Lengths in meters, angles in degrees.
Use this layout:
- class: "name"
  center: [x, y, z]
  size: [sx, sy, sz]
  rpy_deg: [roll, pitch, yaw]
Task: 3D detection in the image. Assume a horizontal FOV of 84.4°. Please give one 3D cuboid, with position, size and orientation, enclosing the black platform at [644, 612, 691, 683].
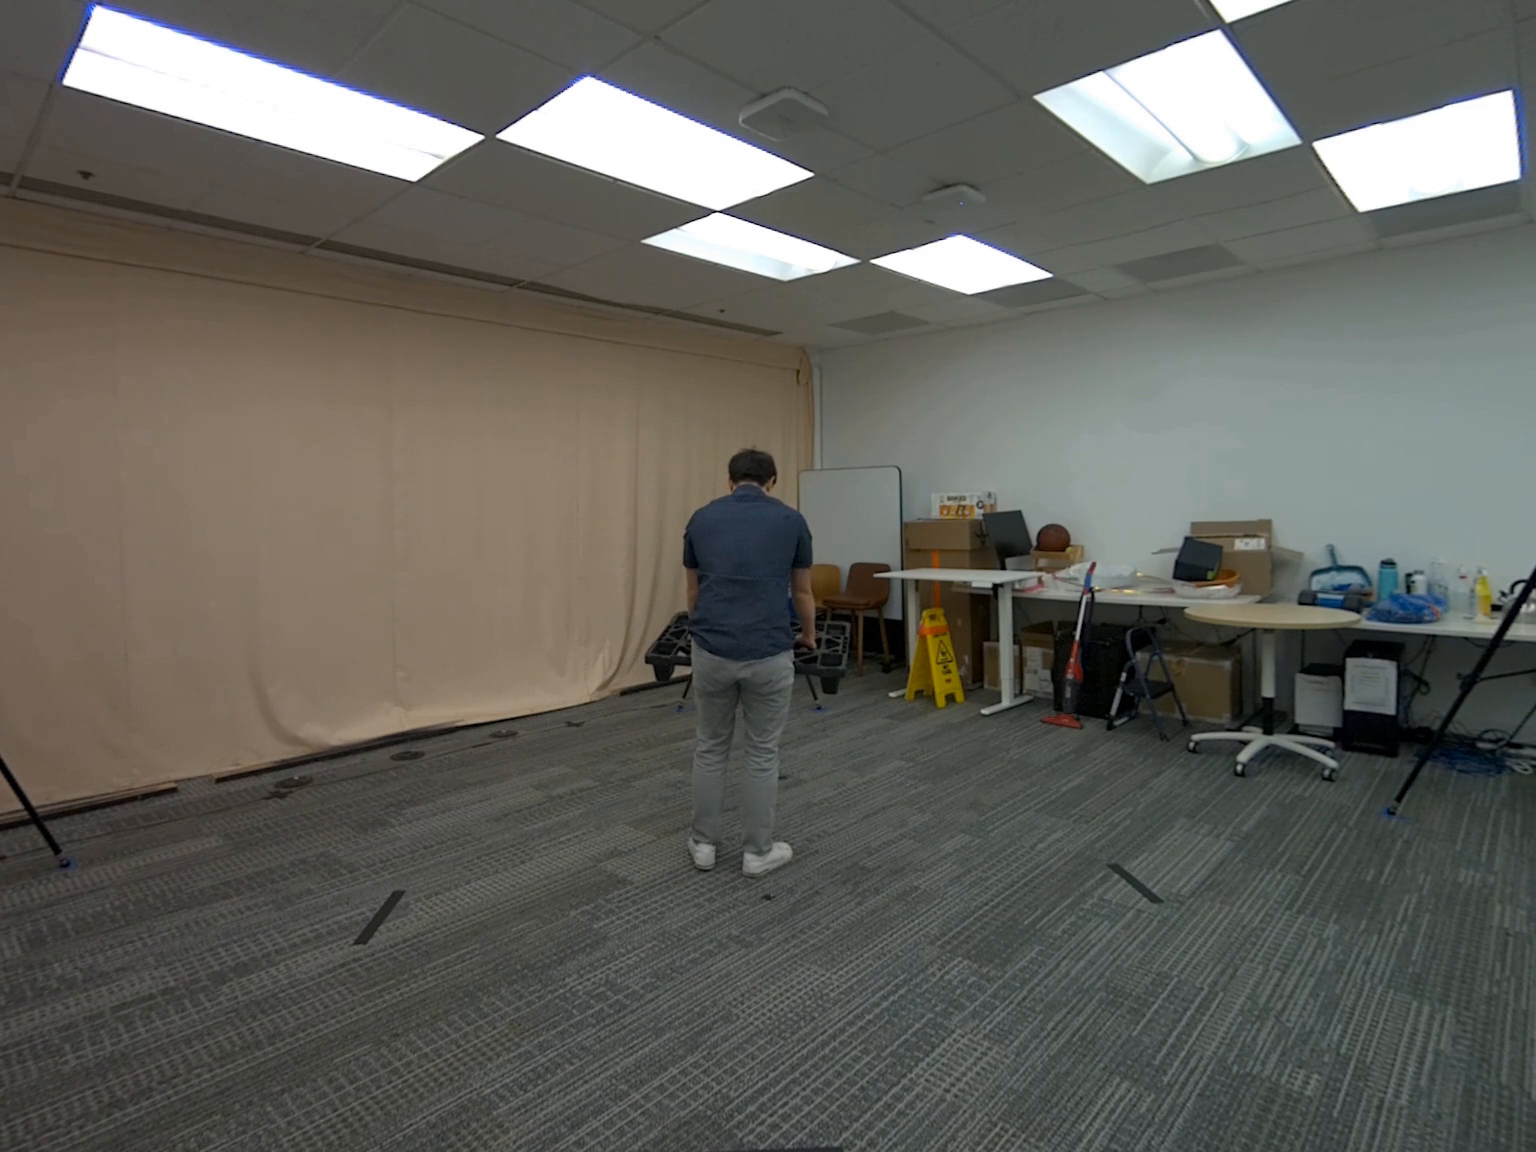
- class: "black platform"
  center: [-0.055, 0.330, 3.579]
  size: [0.814, 0.142, 0.604]
  rpy_deg: [3, 16, 9]
